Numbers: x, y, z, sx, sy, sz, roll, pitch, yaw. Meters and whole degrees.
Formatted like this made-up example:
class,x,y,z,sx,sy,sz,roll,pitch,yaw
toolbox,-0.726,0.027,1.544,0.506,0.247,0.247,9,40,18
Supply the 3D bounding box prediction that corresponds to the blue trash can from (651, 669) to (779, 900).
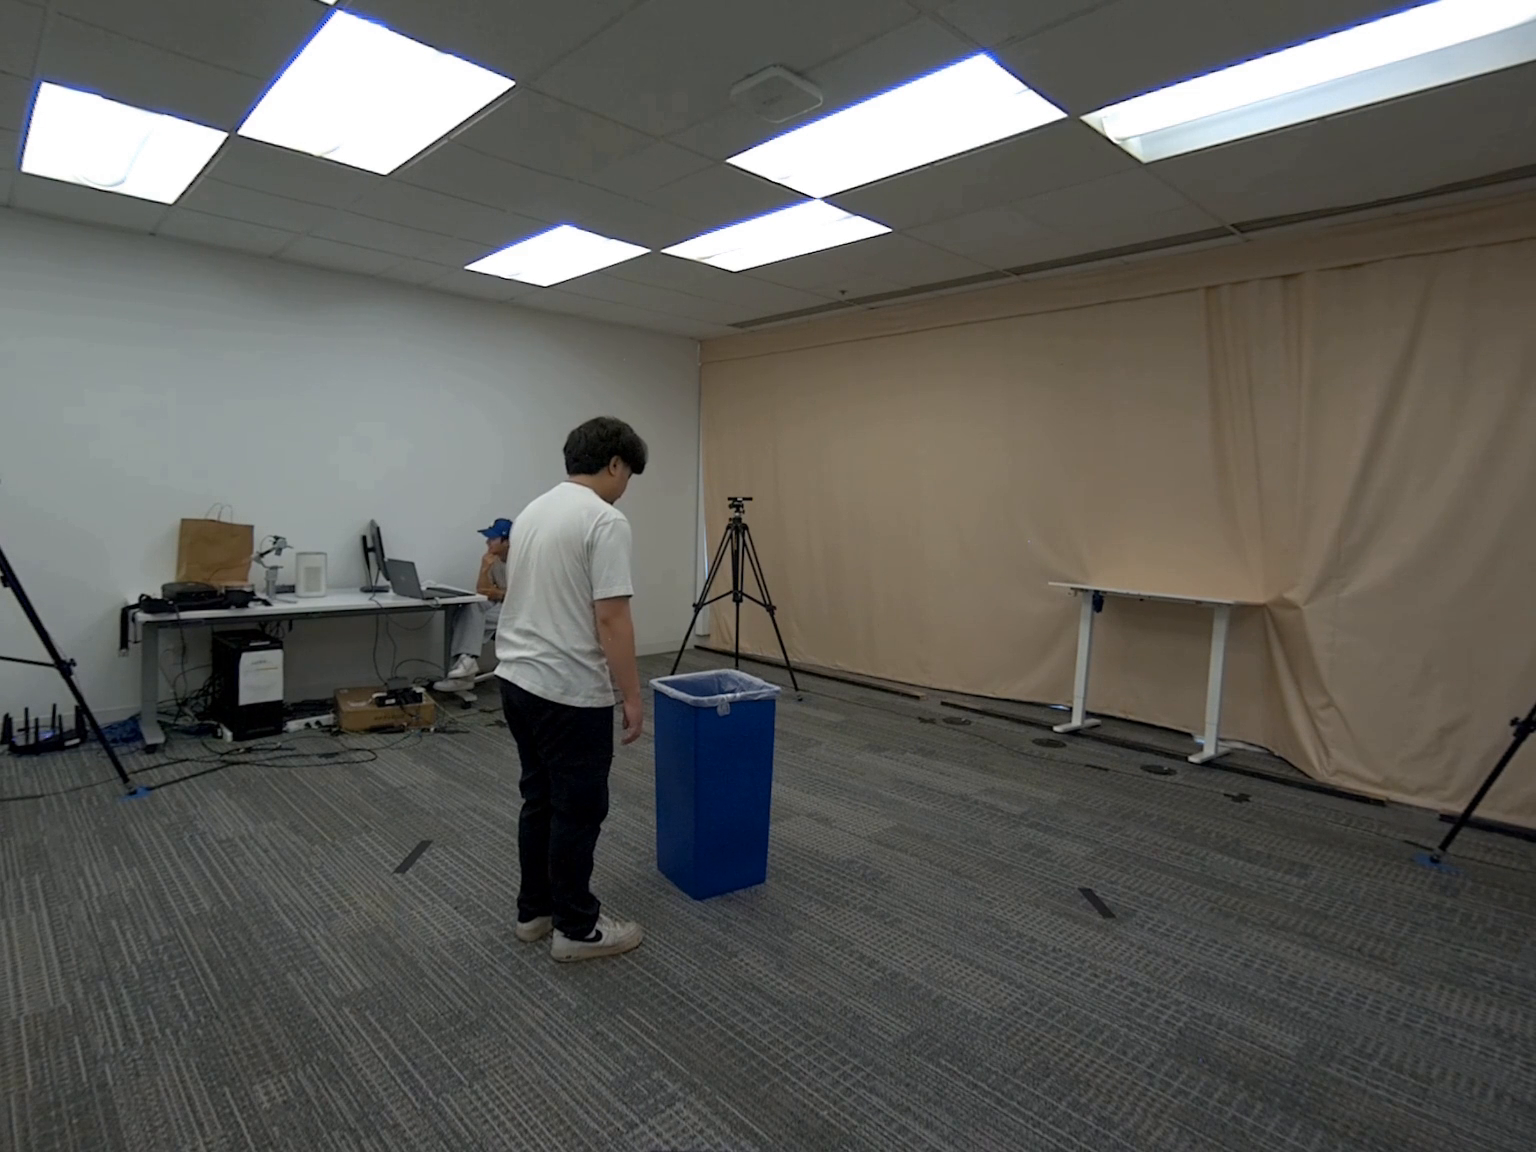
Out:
class,x,y,z,sx,sy,sz,roll,pitch,yaw
blue trash can,-0.215,0.748,3.096,0.370,0.712,0.383,-1,4,-34
